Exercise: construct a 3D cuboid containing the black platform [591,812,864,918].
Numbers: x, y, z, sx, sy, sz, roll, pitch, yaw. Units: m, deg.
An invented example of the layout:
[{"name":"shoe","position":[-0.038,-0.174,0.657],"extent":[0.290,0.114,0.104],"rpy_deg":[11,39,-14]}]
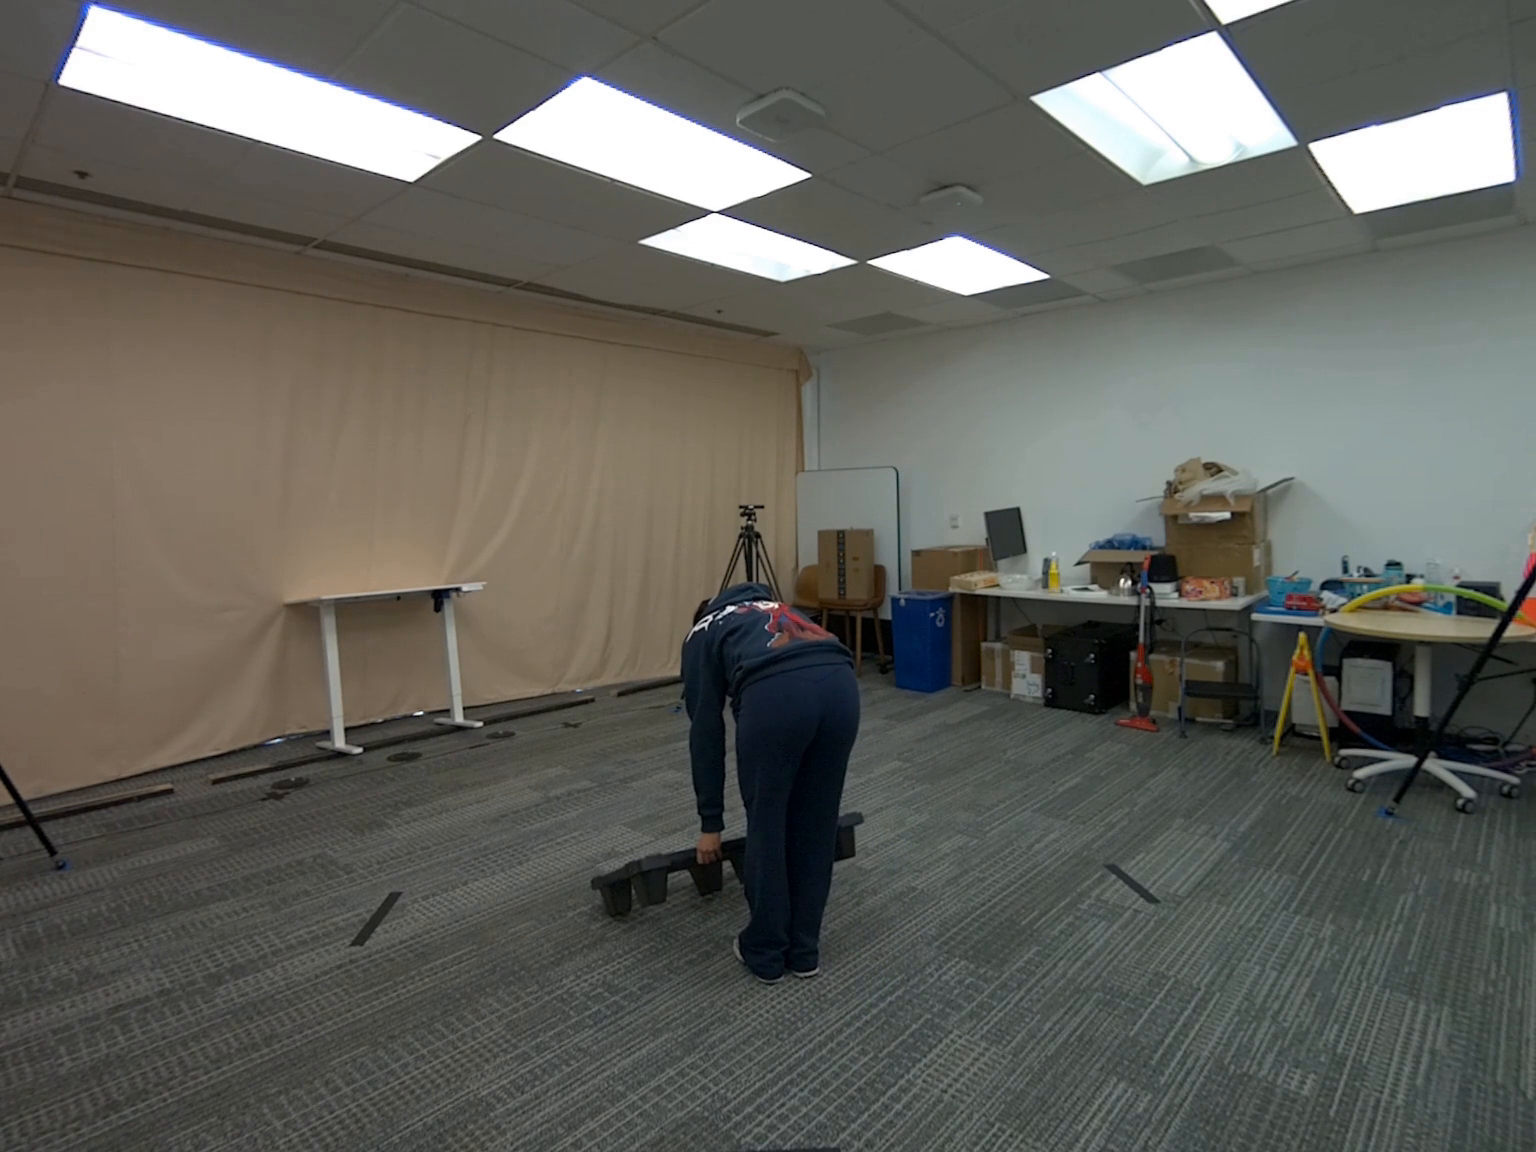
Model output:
[{"name":"black platform","position":[-0.136,0.985,2.857],"extent":[0.786,0.146,0.609],"rpy_deg":[-3,-23,-26]}]
